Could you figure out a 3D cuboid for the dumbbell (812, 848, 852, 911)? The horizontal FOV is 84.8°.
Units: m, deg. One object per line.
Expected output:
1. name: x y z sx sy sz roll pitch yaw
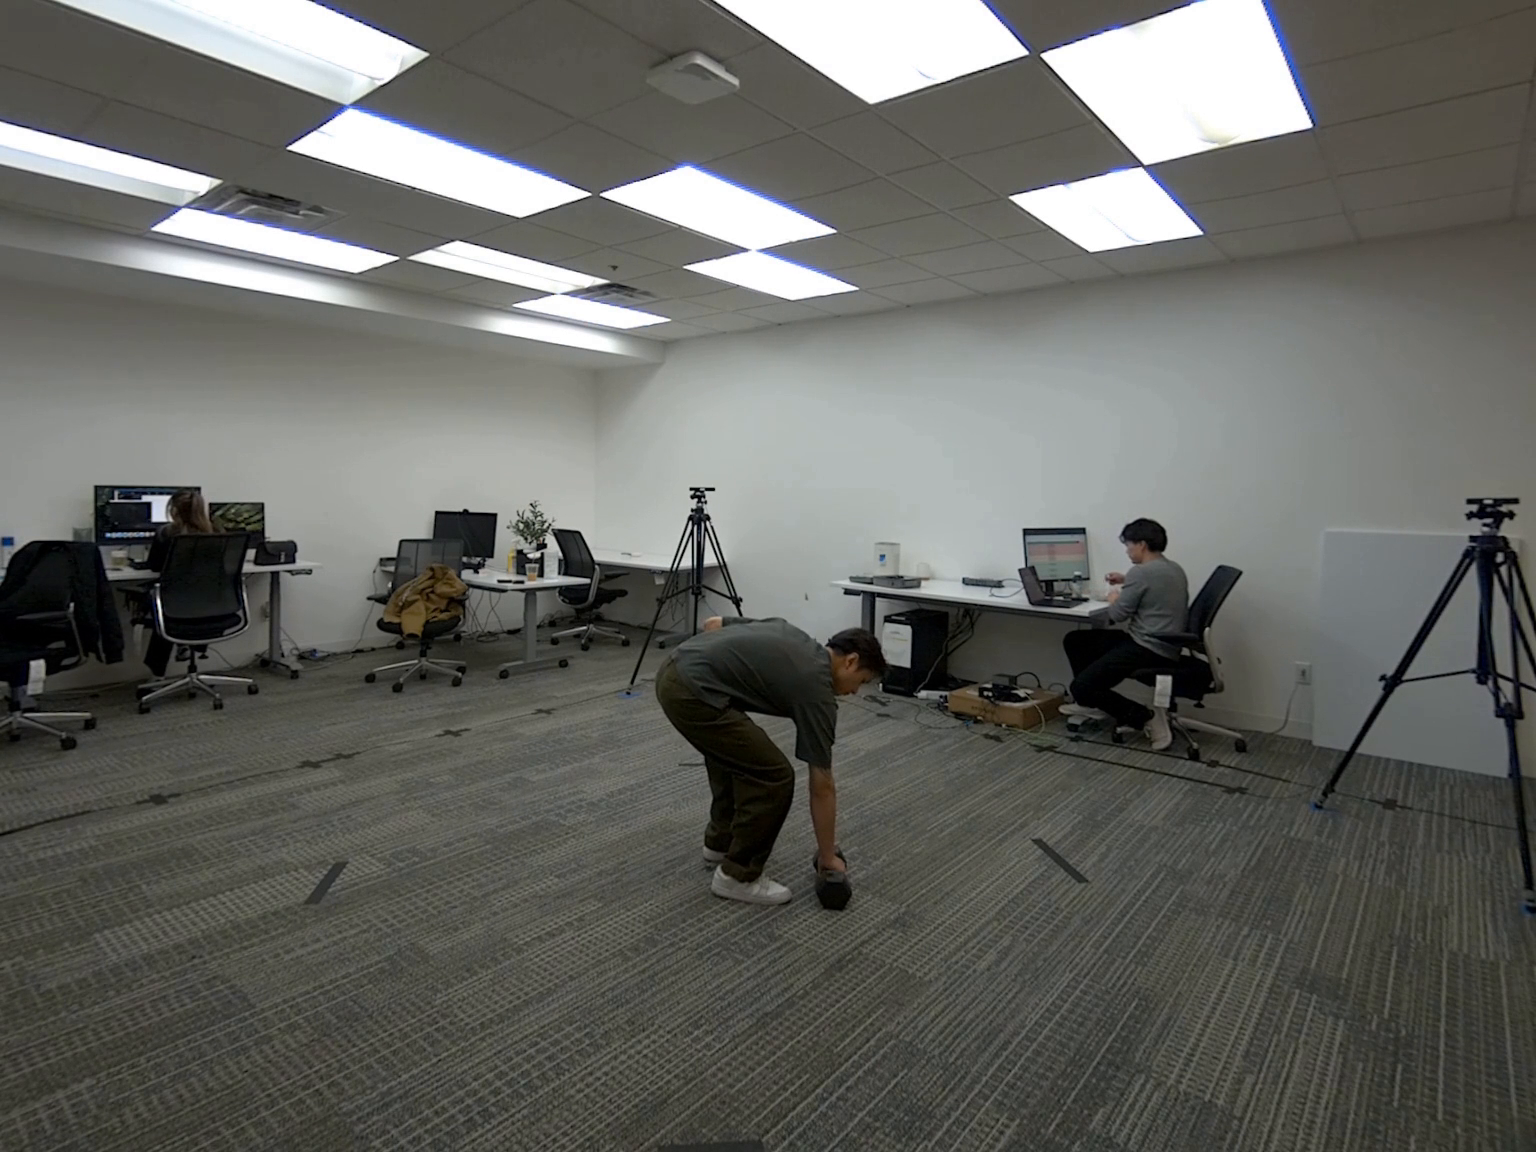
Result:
1. dumbbell: 0.213 1.033 2.957 0.109 0.123 0.294 32 5 -2
